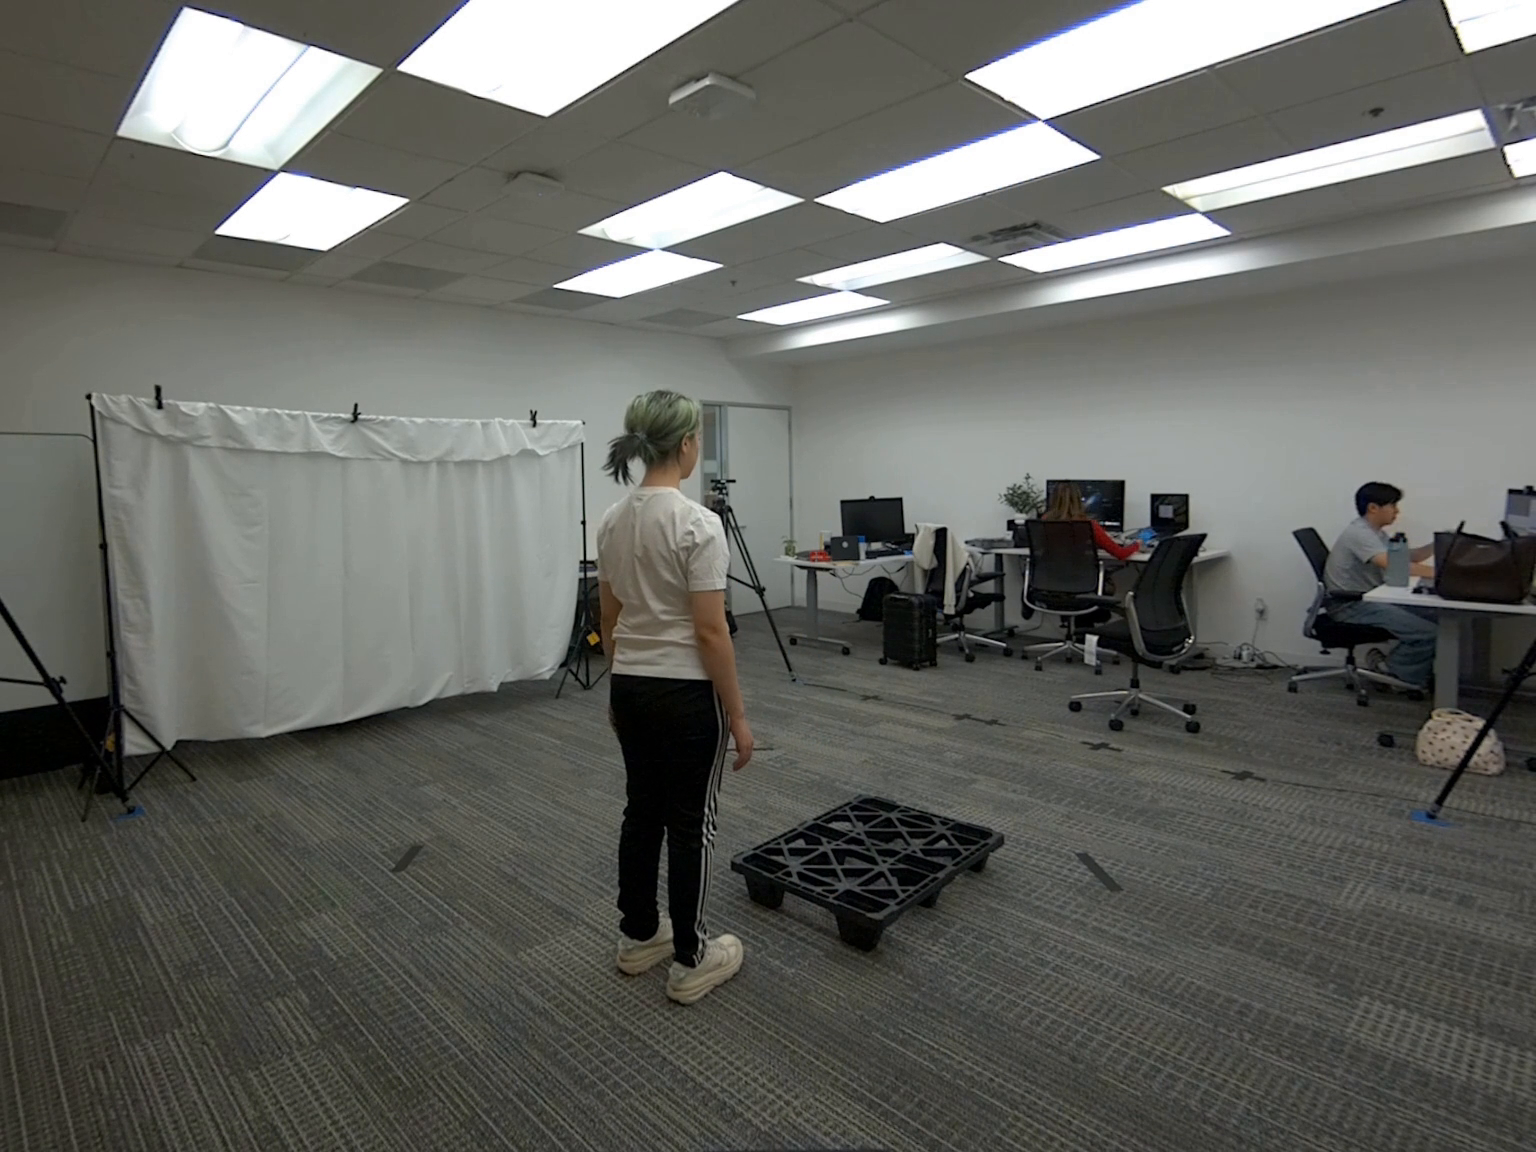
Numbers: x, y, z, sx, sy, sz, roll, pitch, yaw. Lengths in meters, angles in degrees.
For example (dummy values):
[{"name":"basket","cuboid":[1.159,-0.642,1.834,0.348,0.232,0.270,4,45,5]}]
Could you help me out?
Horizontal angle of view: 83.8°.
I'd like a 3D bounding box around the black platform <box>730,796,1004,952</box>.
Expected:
[{"name":"black platform","cuboid":[0.351,0.993,2.933,0.623,0.143,0.785,4,8,42]}]
